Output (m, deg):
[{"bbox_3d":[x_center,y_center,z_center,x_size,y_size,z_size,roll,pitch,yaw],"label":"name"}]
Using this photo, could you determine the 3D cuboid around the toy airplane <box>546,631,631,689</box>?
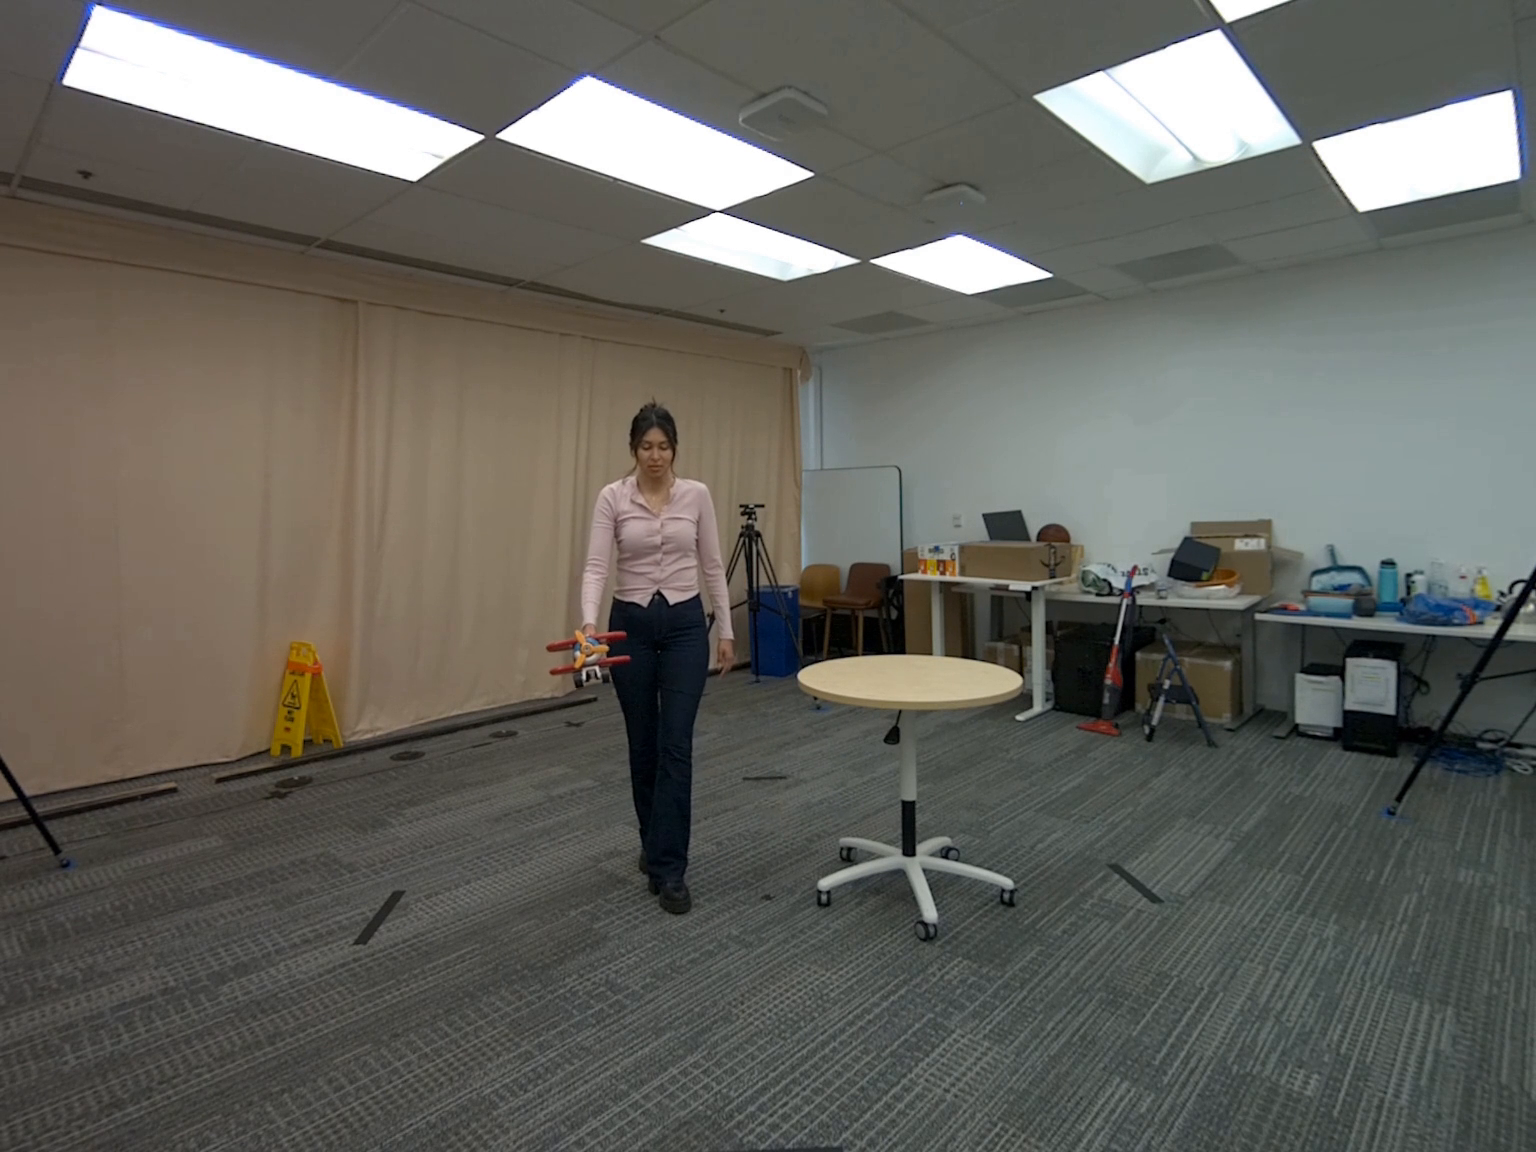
[{"bbox_3d":[-0.593,0.269,2.705,0.244,0.156,0.266,-8,0,-38],"label":"toy airplane"}]
